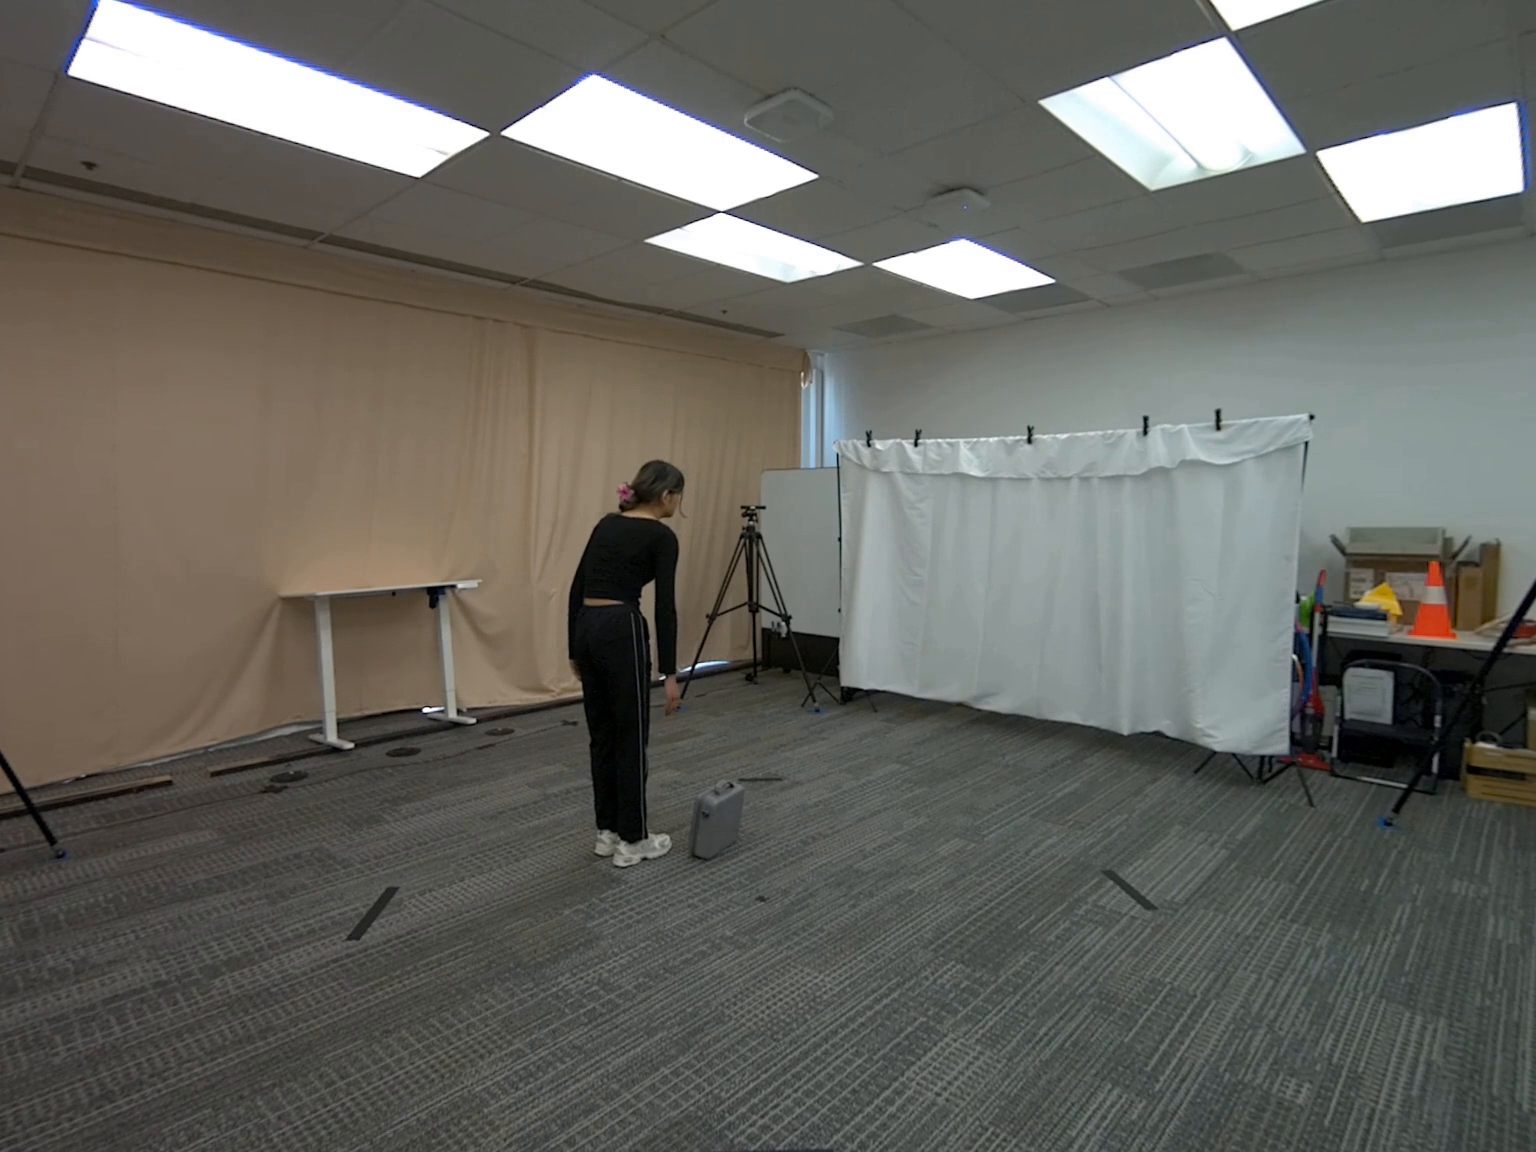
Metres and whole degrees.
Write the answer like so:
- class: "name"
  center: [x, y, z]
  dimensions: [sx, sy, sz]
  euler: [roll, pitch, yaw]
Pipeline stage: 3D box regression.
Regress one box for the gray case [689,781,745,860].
- class: "gray case"
  center: [-0.203, 0.979, 3.399]
  dimensions: [0.107, 0.259, 0.250]
  euler: [13, 11, 28]
